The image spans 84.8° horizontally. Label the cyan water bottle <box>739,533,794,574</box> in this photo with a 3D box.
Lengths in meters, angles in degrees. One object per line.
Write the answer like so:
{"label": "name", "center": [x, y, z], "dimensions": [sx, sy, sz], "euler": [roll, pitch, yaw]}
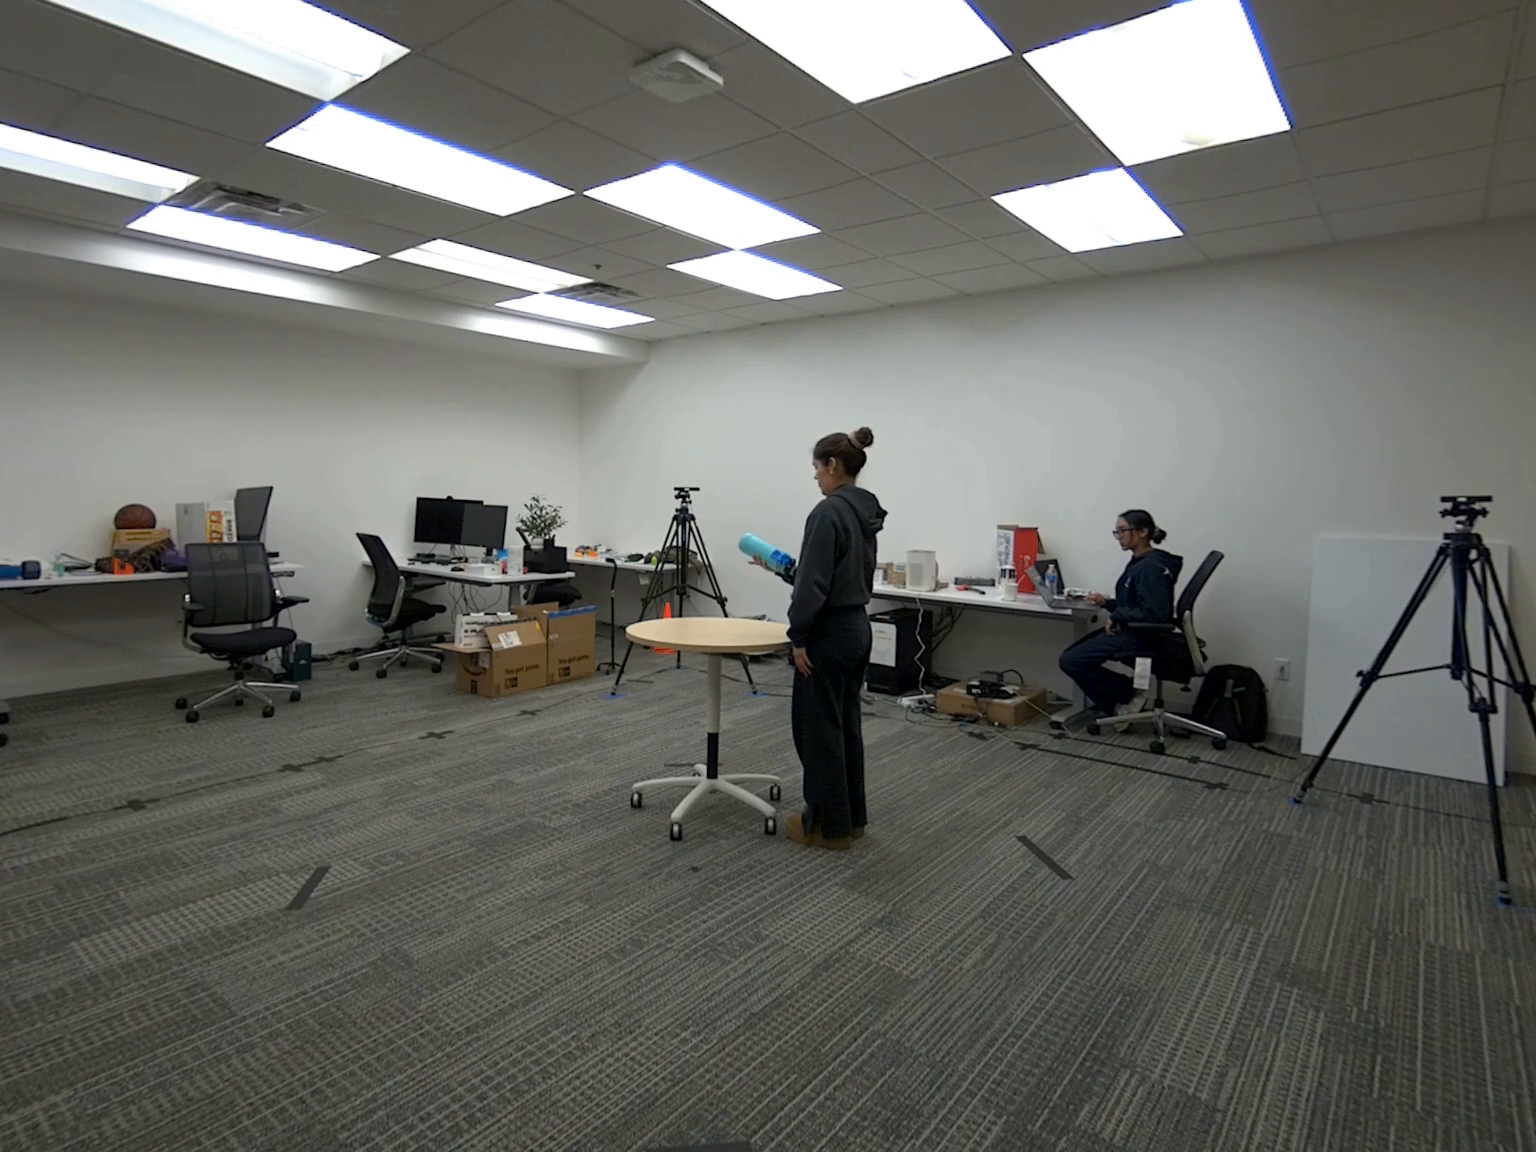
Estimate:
{"label": "cyan water bottle", "center": [0.000, -0.111, 3.603], "dimensions": [0.295, 0.091, 0.089], "euler": [30, 21, 34]}
